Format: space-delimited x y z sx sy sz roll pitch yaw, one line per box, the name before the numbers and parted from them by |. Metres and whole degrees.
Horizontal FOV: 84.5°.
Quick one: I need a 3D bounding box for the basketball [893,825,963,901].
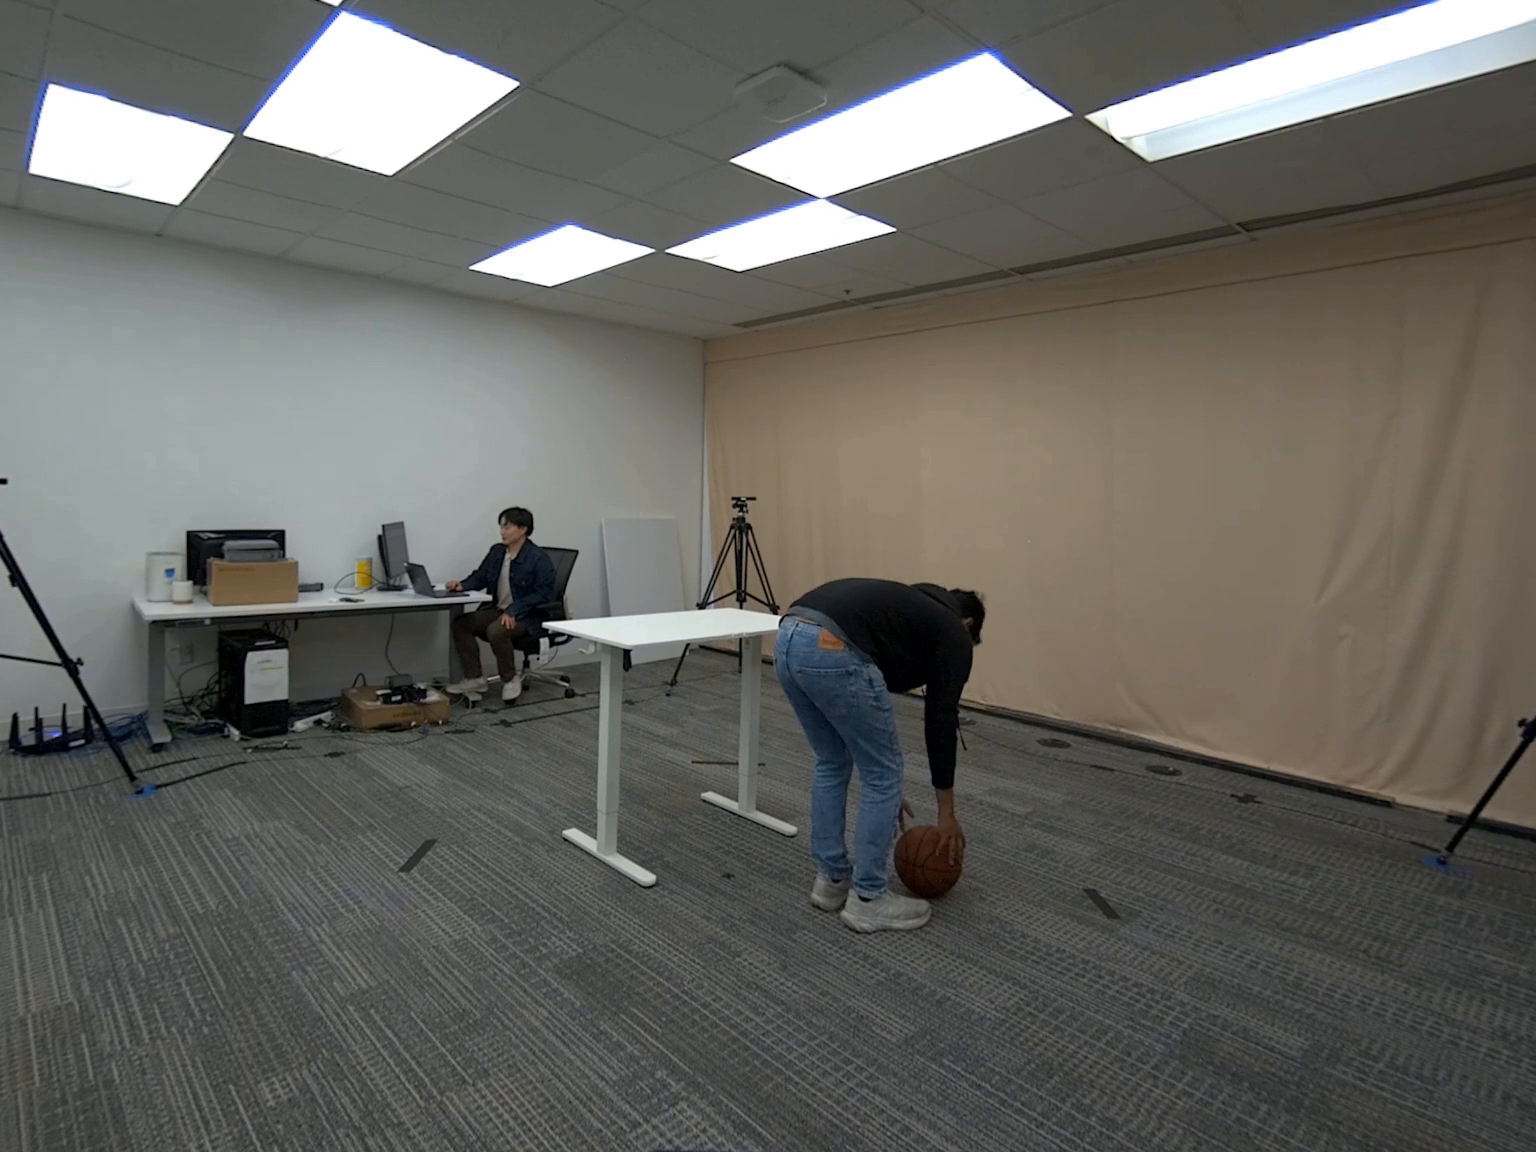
basketball | 0.562 1.007 3.002 0.236 0.235 0.237 1 4 -1
